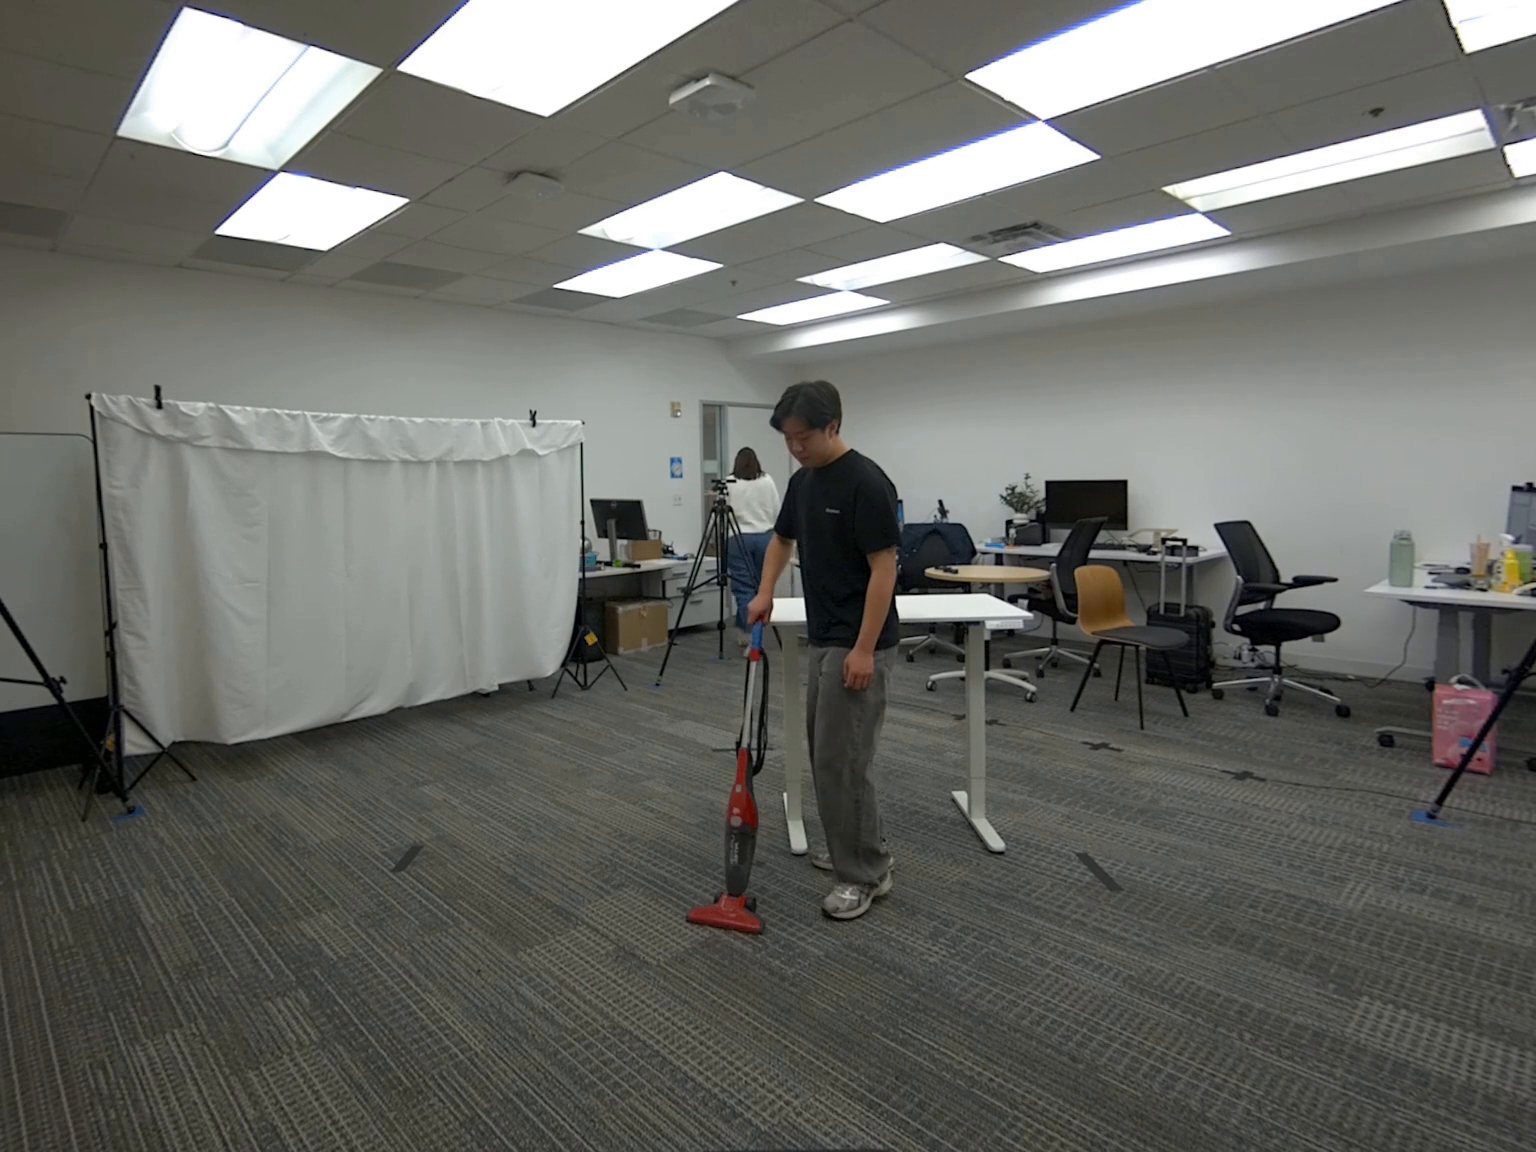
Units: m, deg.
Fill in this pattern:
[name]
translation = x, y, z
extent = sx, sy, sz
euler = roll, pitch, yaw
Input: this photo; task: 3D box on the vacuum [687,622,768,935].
[vacuum]
translation = -0.064, 0.596, 2.903
extent = 0.258, 1.065, 0.139
euler = -3, -23, 27
